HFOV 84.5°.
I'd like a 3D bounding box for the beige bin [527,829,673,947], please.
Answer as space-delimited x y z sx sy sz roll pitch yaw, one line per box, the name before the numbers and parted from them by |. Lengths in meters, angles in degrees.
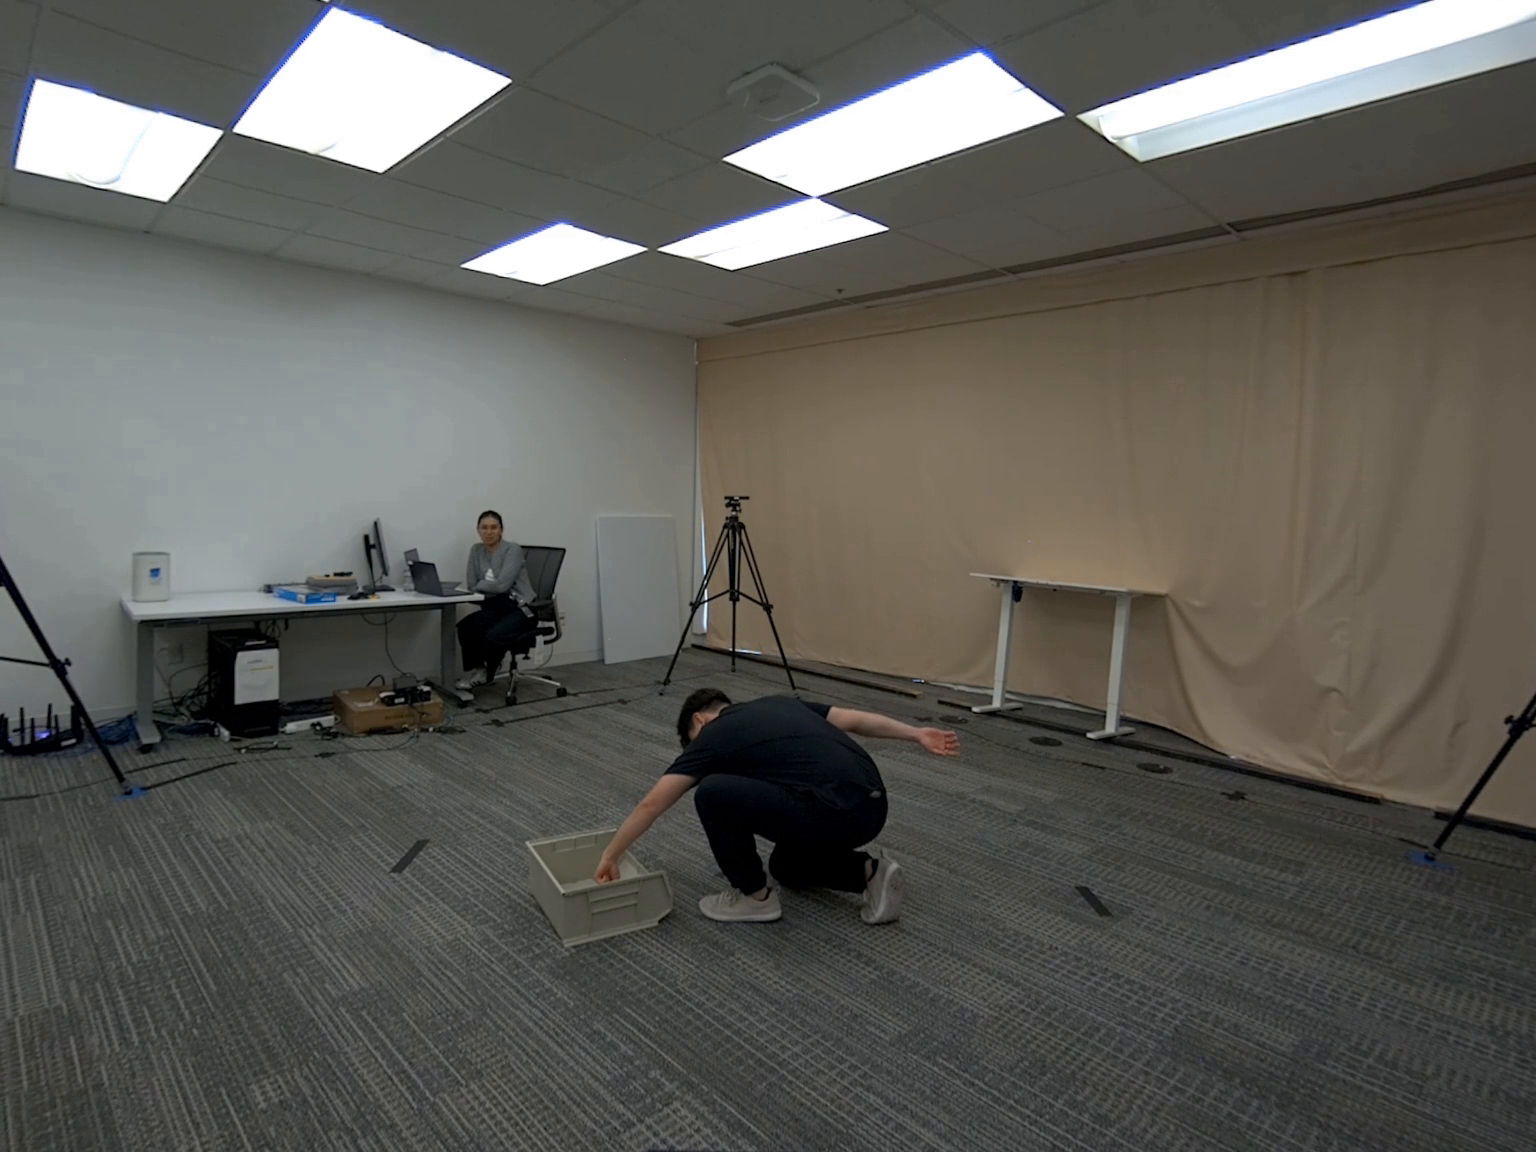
beige bin | -0.575 1.024 2.839 0.370 0.188 0.432 -2 7 -30
